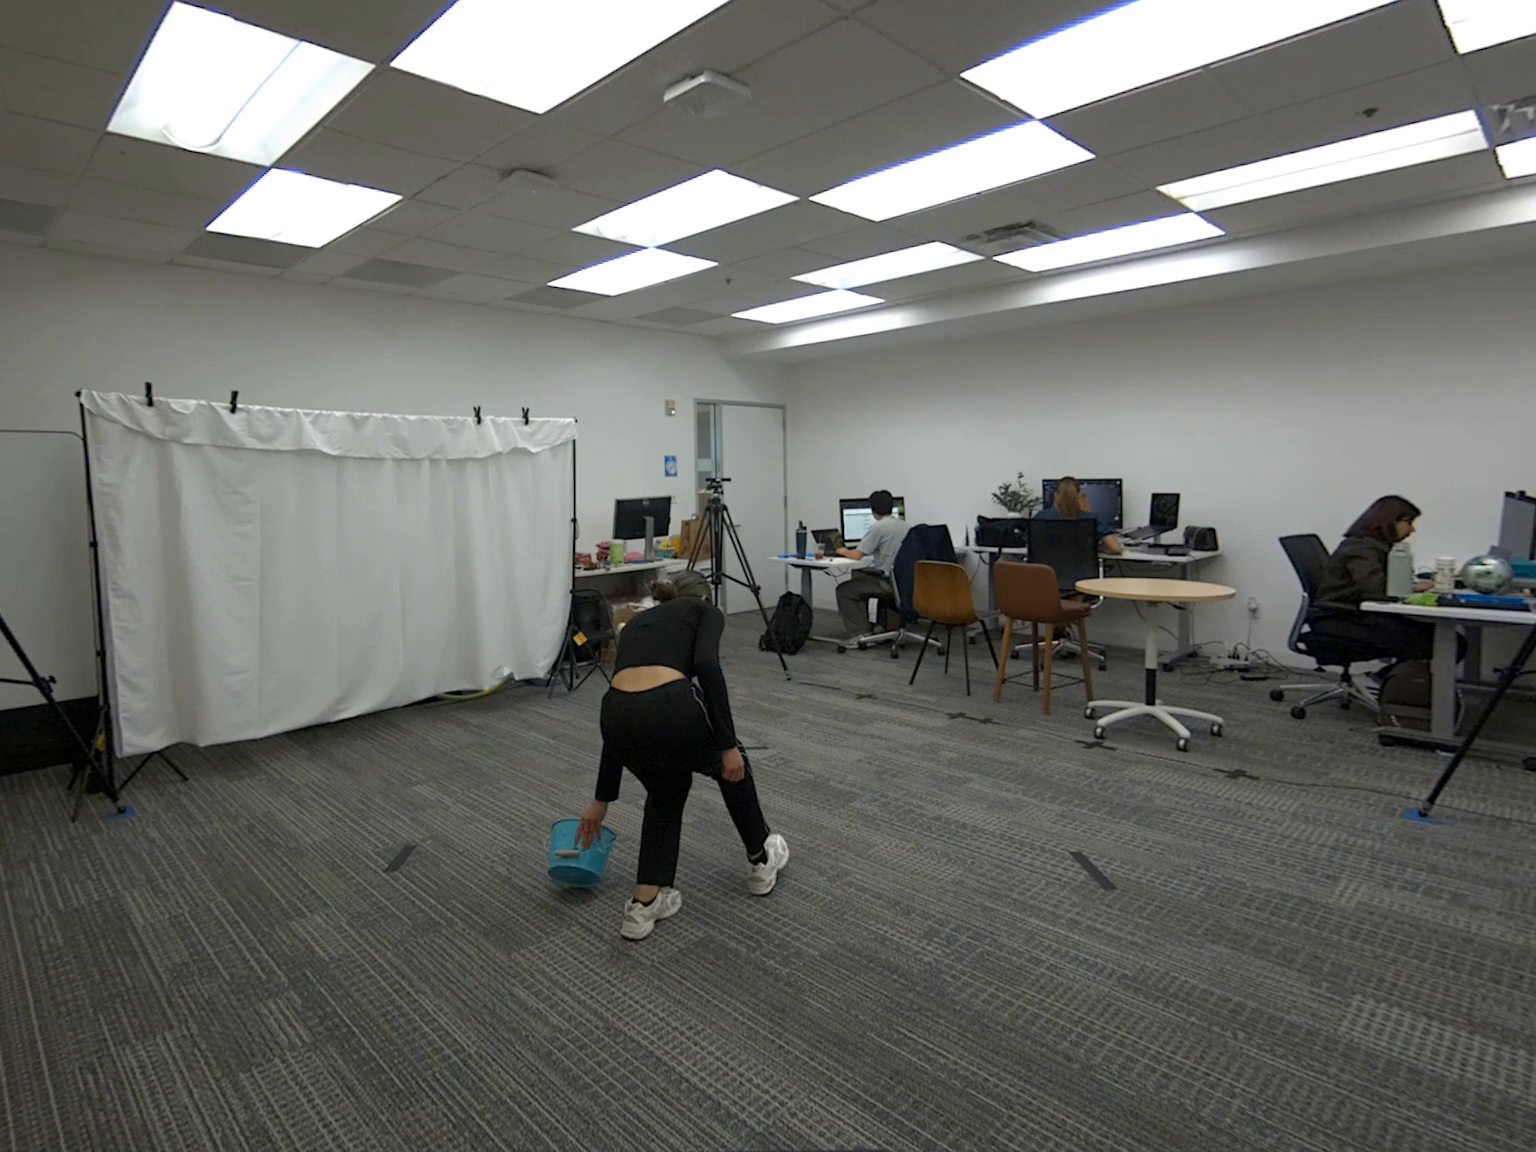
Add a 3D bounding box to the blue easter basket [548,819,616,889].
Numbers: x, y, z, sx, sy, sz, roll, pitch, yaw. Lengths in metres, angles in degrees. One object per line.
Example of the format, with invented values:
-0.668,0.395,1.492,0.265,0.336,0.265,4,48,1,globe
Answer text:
-0.648,0.950,2.943,0.245,0.236,0.159,0,48,7,blue easter basket
